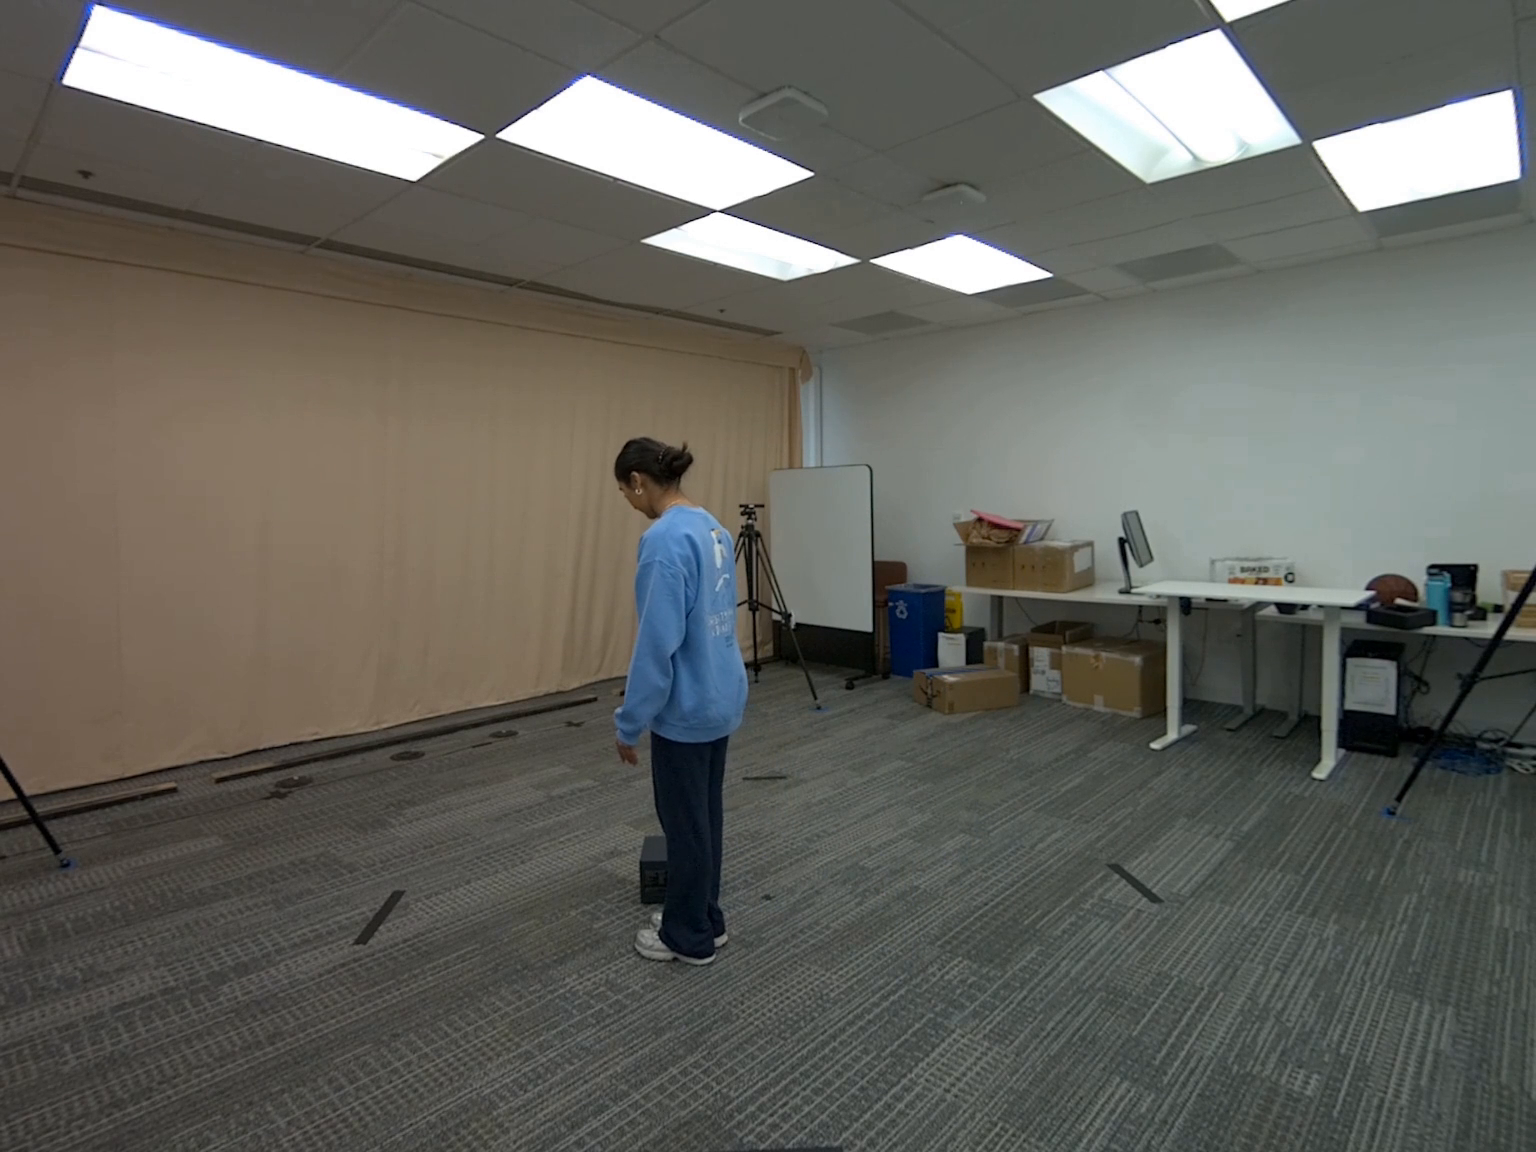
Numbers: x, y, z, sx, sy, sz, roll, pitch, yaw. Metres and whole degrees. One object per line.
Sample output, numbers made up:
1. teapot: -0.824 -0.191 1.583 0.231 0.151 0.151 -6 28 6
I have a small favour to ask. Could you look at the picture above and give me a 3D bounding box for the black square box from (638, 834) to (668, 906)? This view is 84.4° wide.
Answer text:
1. black square box: -0.348 1.054 3.056 0.217 0.155 0.229 -2 4 -2
